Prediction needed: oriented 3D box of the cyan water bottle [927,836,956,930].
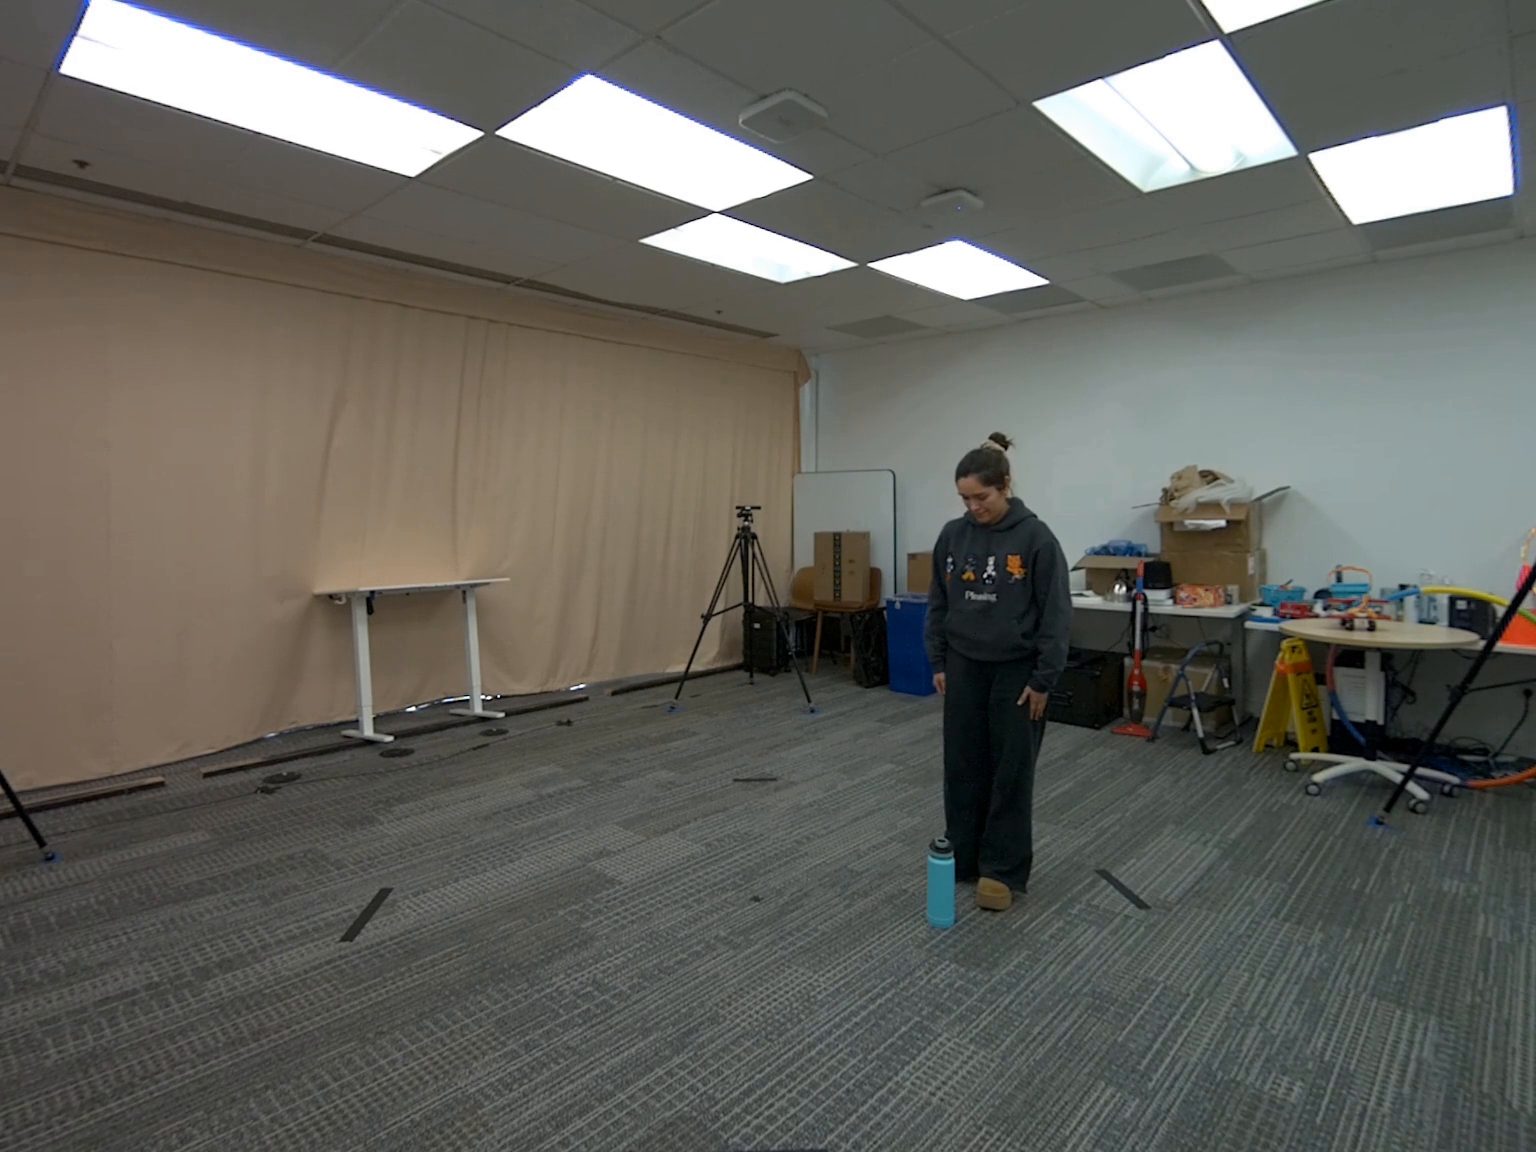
[{"bbox_3d":[0.601,1.010,2.799,0.092,0.283,0.092,0,1,-2],"label":"cyan water bottle"}]
